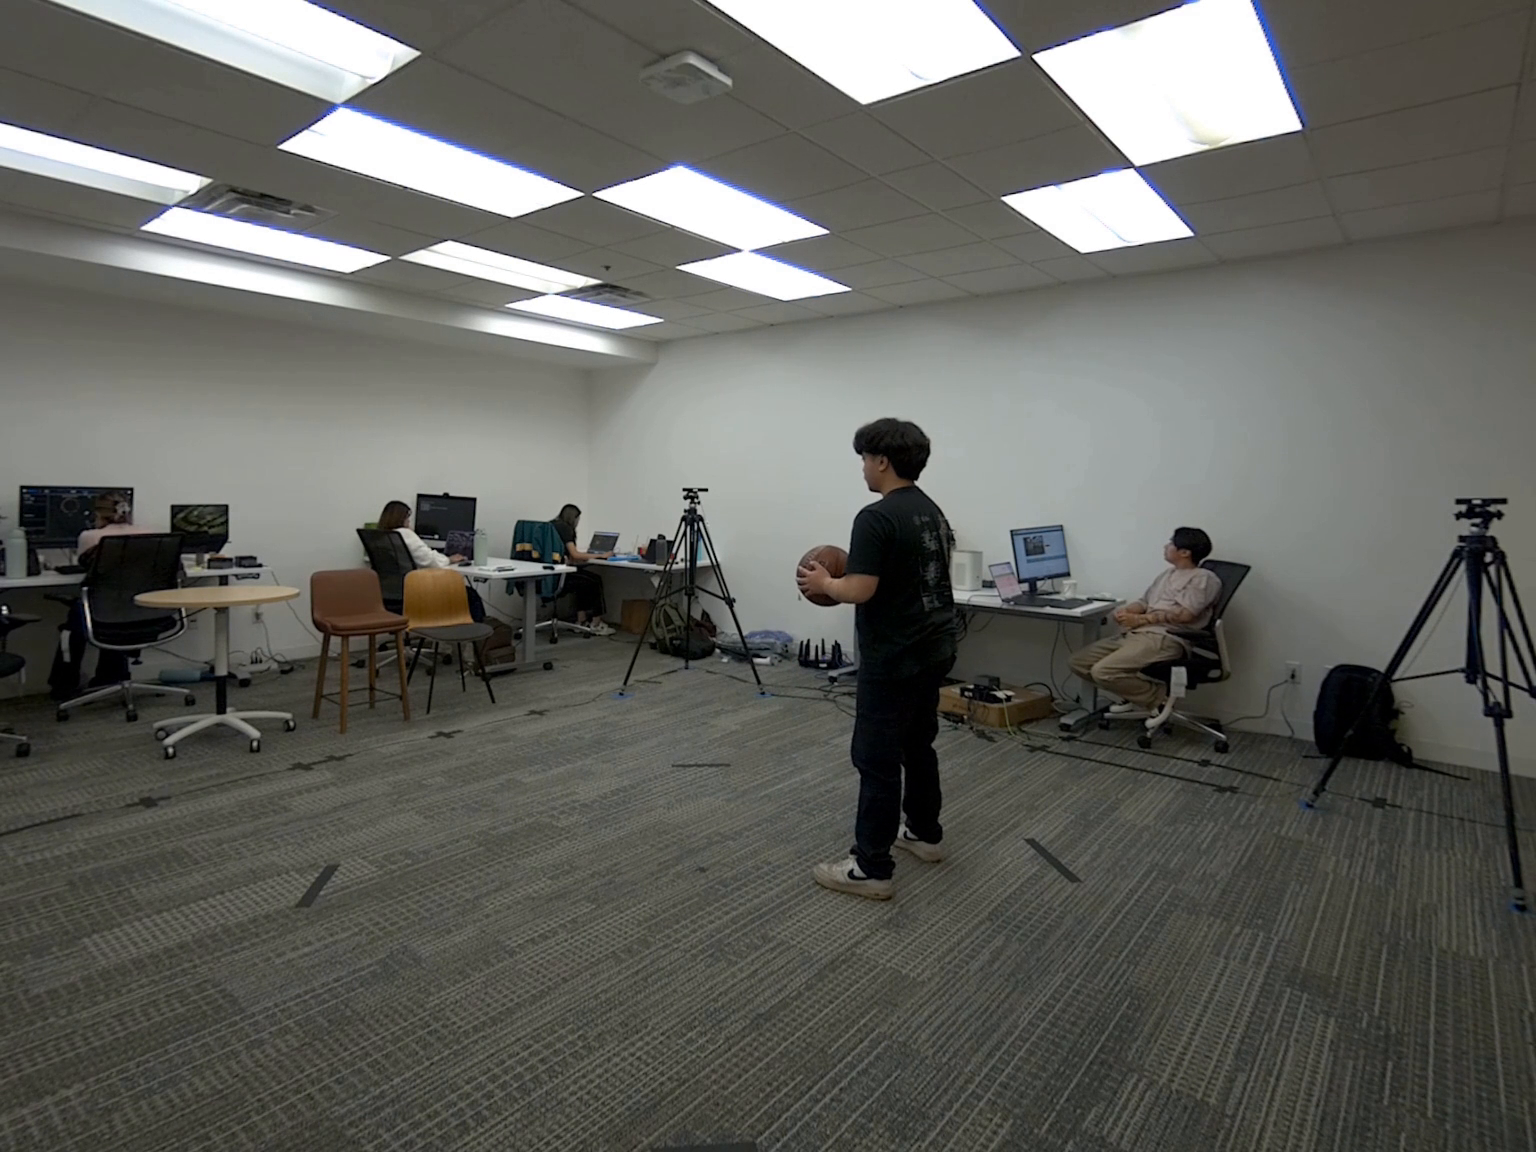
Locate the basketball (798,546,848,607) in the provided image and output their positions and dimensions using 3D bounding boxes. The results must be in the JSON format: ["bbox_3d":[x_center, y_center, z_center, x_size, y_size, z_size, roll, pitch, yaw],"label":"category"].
[{"bbox_3d":[0.219,-0.007,3.311,0.235,0.235,0.237,1,4,-2],"label":"basketball"}]
